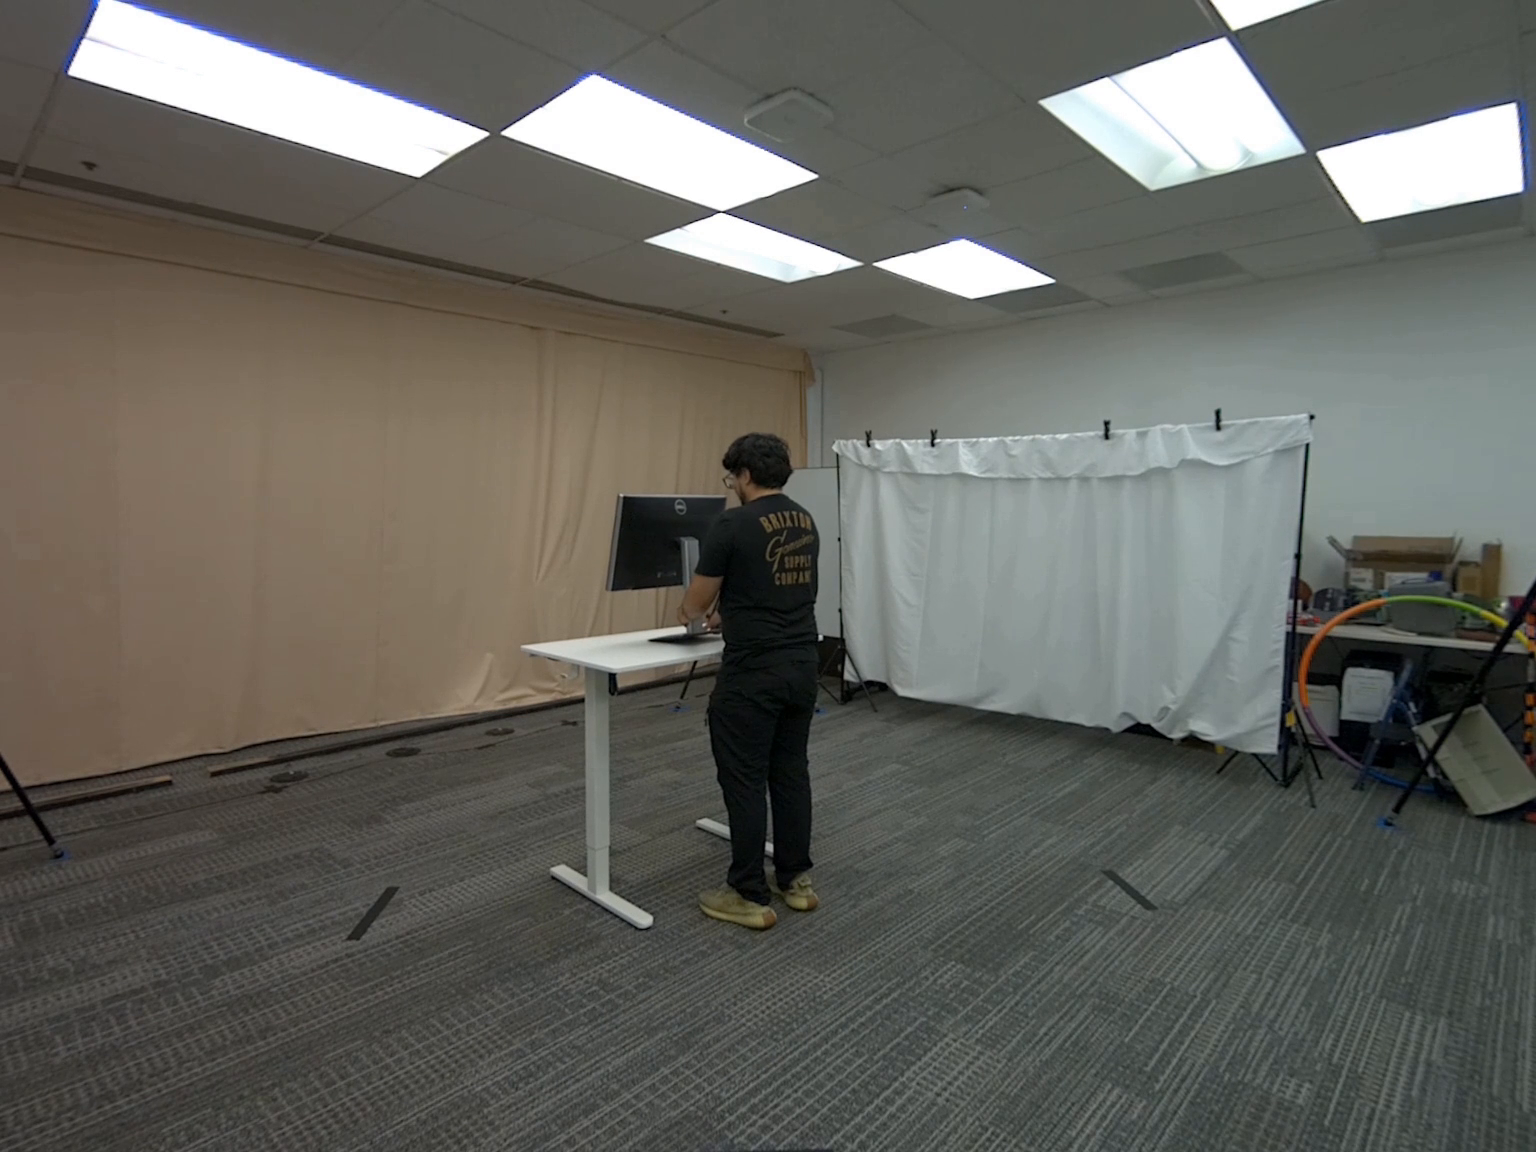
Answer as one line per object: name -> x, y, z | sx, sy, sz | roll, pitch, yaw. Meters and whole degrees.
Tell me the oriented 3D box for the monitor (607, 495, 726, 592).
monitor -> -0.323, -0.036, 3.204 | 0.217, 0.552, 0.548 | 6, 7, 40
